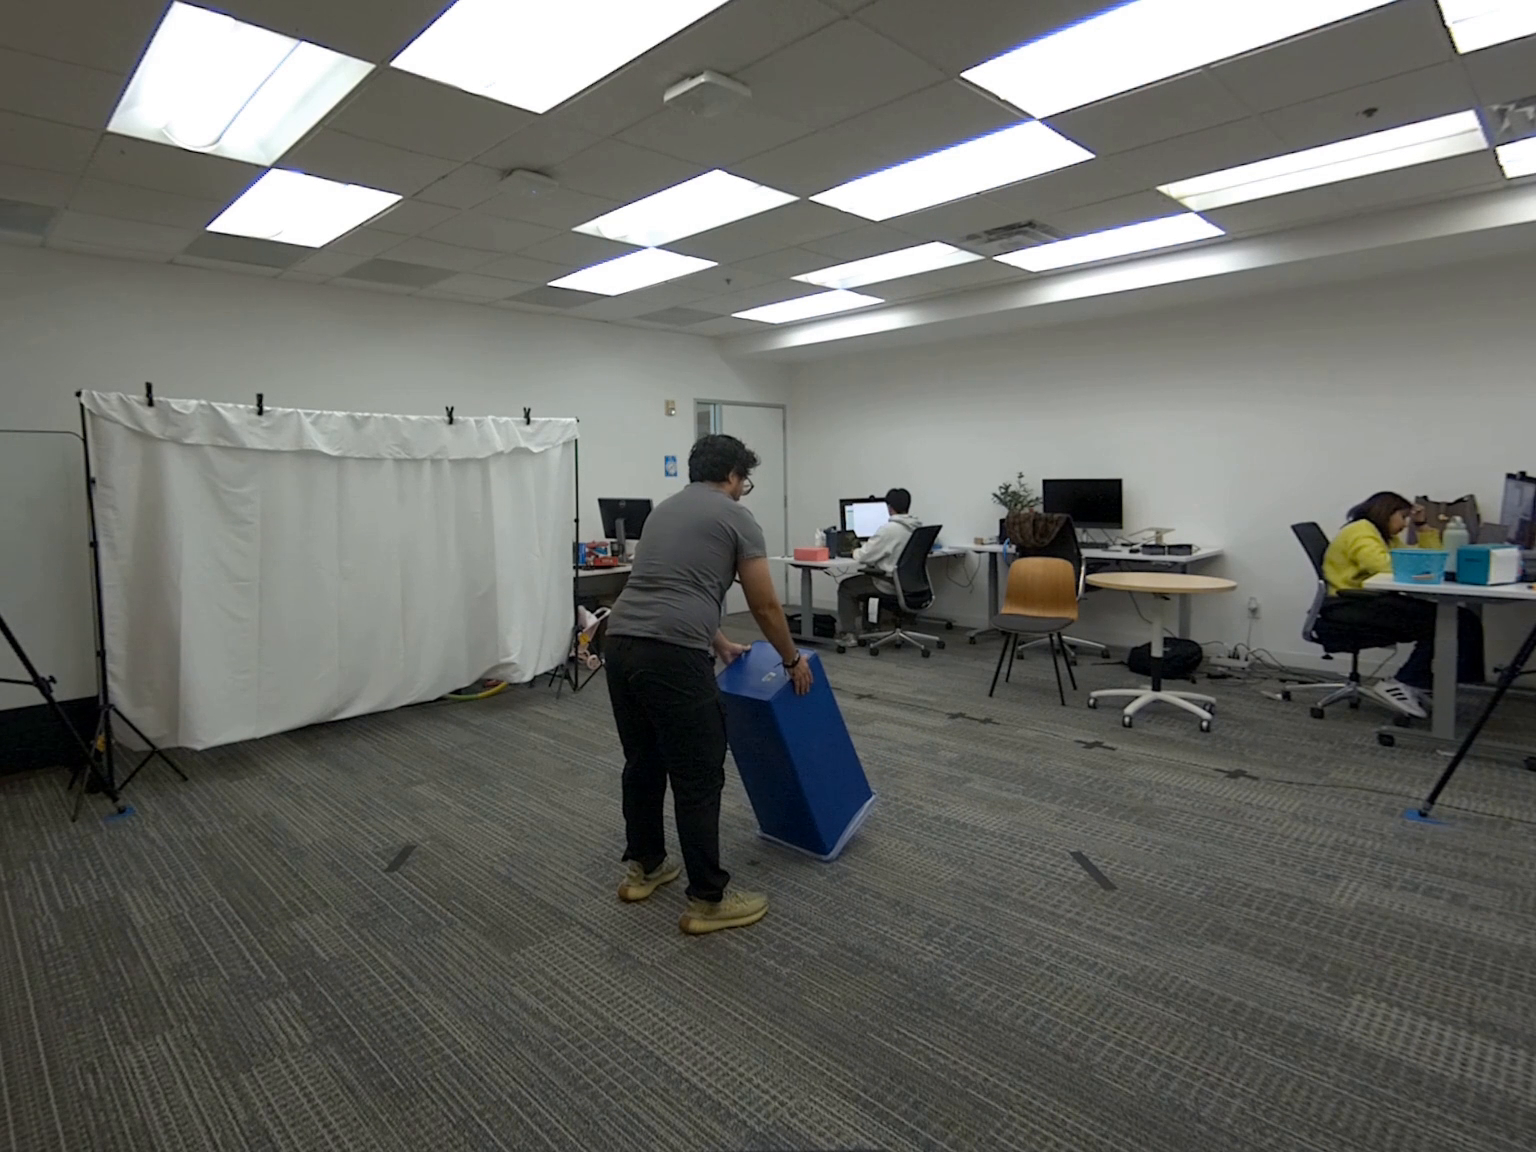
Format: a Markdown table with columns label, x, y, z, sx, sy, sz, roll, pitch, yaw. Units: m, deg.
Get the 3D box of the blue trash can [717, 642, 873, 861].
| label | x | y | z | sx | sy | sz | roll | pitch | yaw |
| --- | --- | --- | --- | --- | --- | --- | --- | --- | --- |
| blue trash can | 0.090 | 0.639 | 3.188 | 0.386 | 0.696 | 0.376 | 4 | 33 | 43 |
